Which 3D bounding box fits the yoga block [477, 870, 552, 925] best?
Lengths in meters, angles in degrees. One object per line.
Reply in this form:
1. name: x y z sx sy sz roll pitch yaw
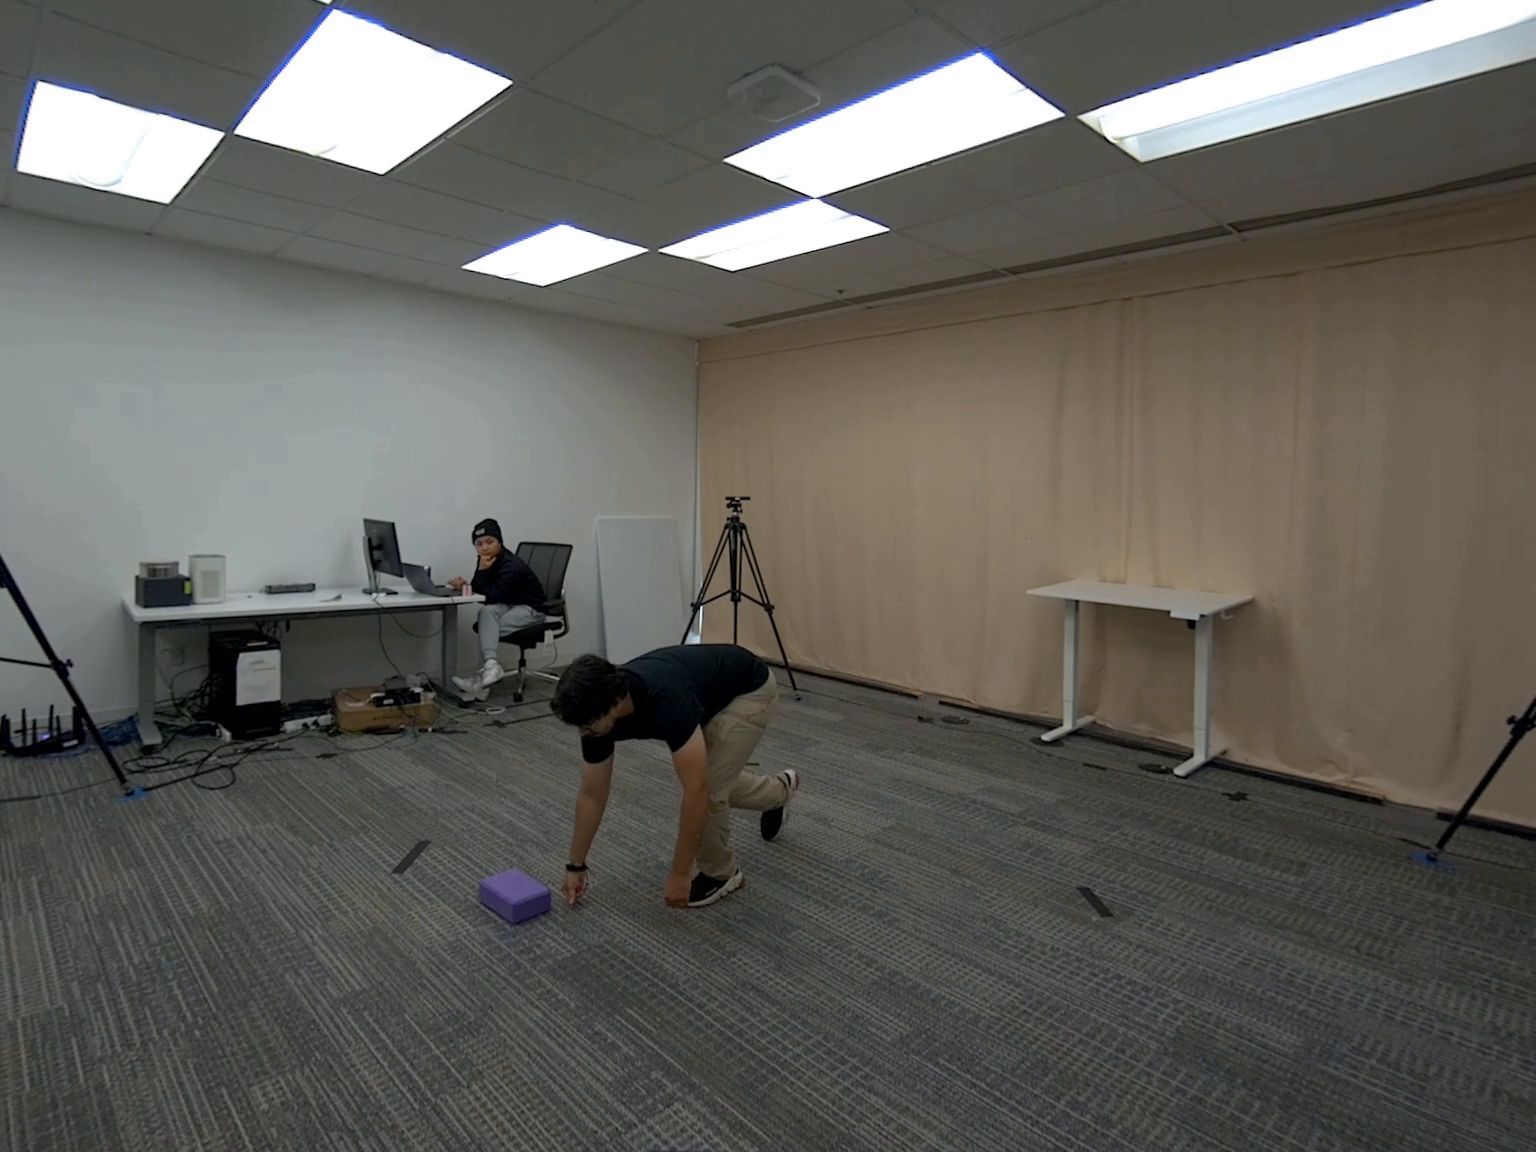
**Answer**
1. yoga block: -0.857 1.075 2.835 0.235 0.076 0.146 5 7 43
